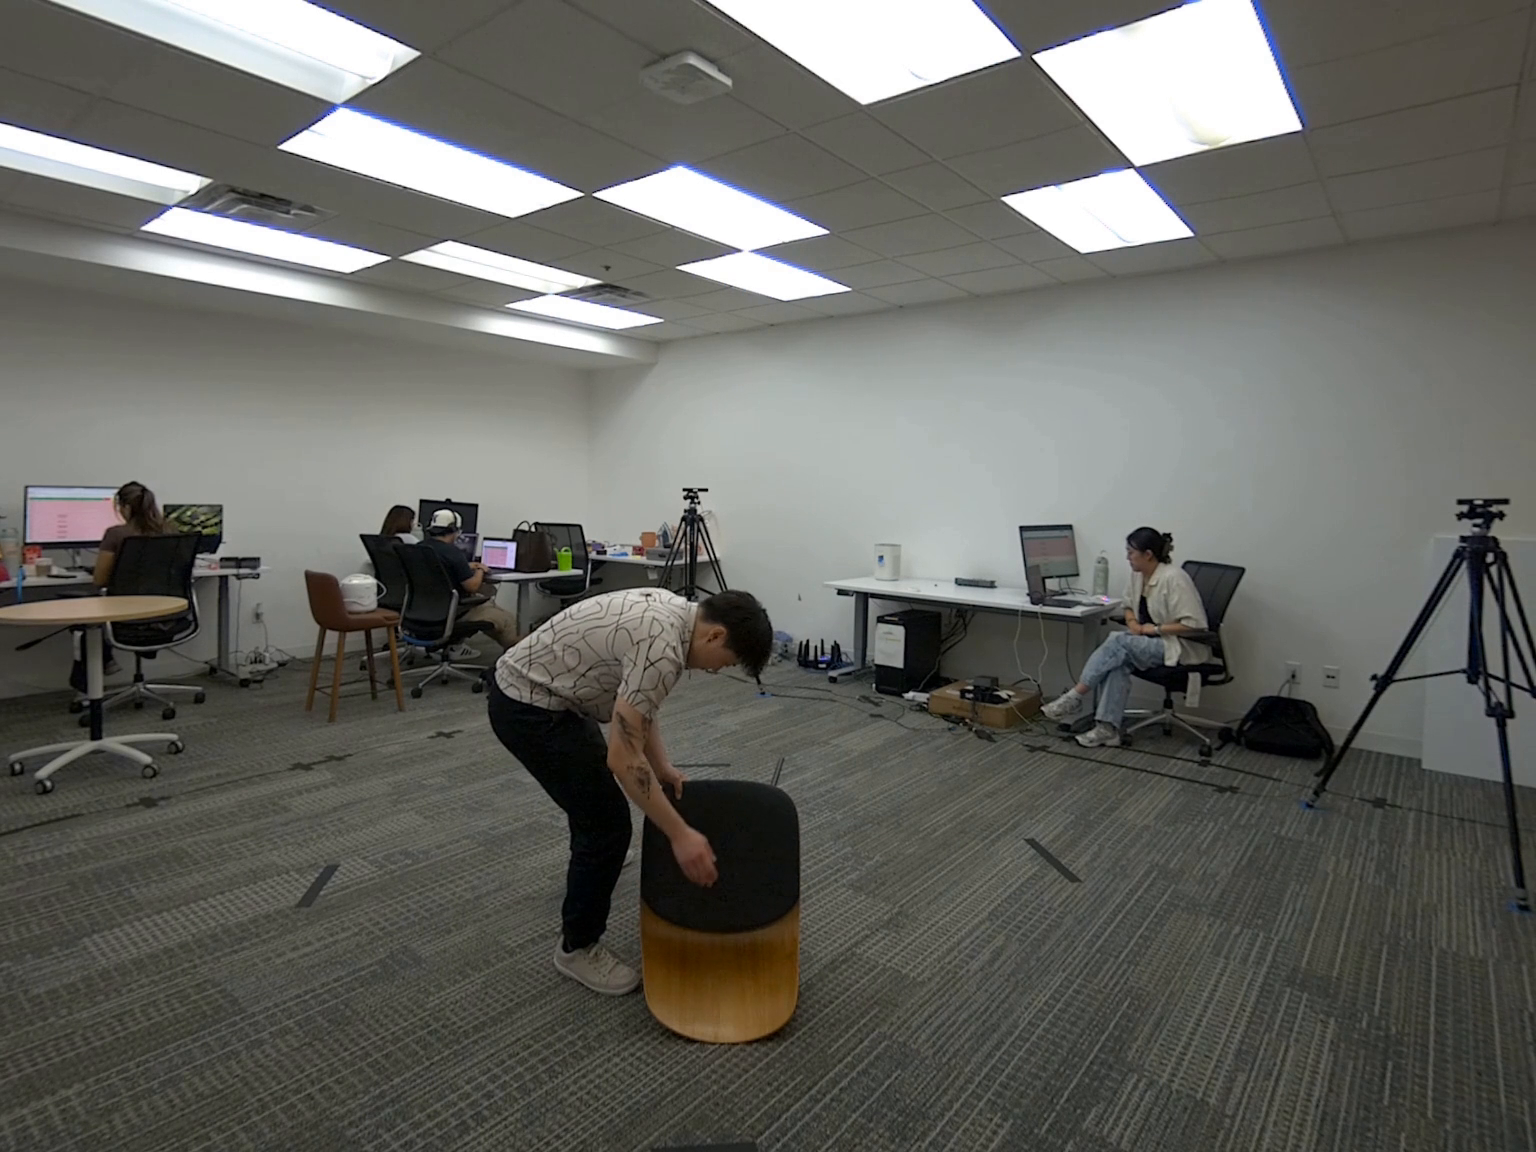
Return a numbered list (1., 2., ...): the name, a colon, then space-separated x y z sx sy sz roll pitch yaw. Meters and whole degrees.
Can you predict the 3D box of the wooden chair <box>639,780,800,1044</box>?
1. wooden chair: -0.152 0.870 2.547 0.477 0.520 0.884 2 6 -3
